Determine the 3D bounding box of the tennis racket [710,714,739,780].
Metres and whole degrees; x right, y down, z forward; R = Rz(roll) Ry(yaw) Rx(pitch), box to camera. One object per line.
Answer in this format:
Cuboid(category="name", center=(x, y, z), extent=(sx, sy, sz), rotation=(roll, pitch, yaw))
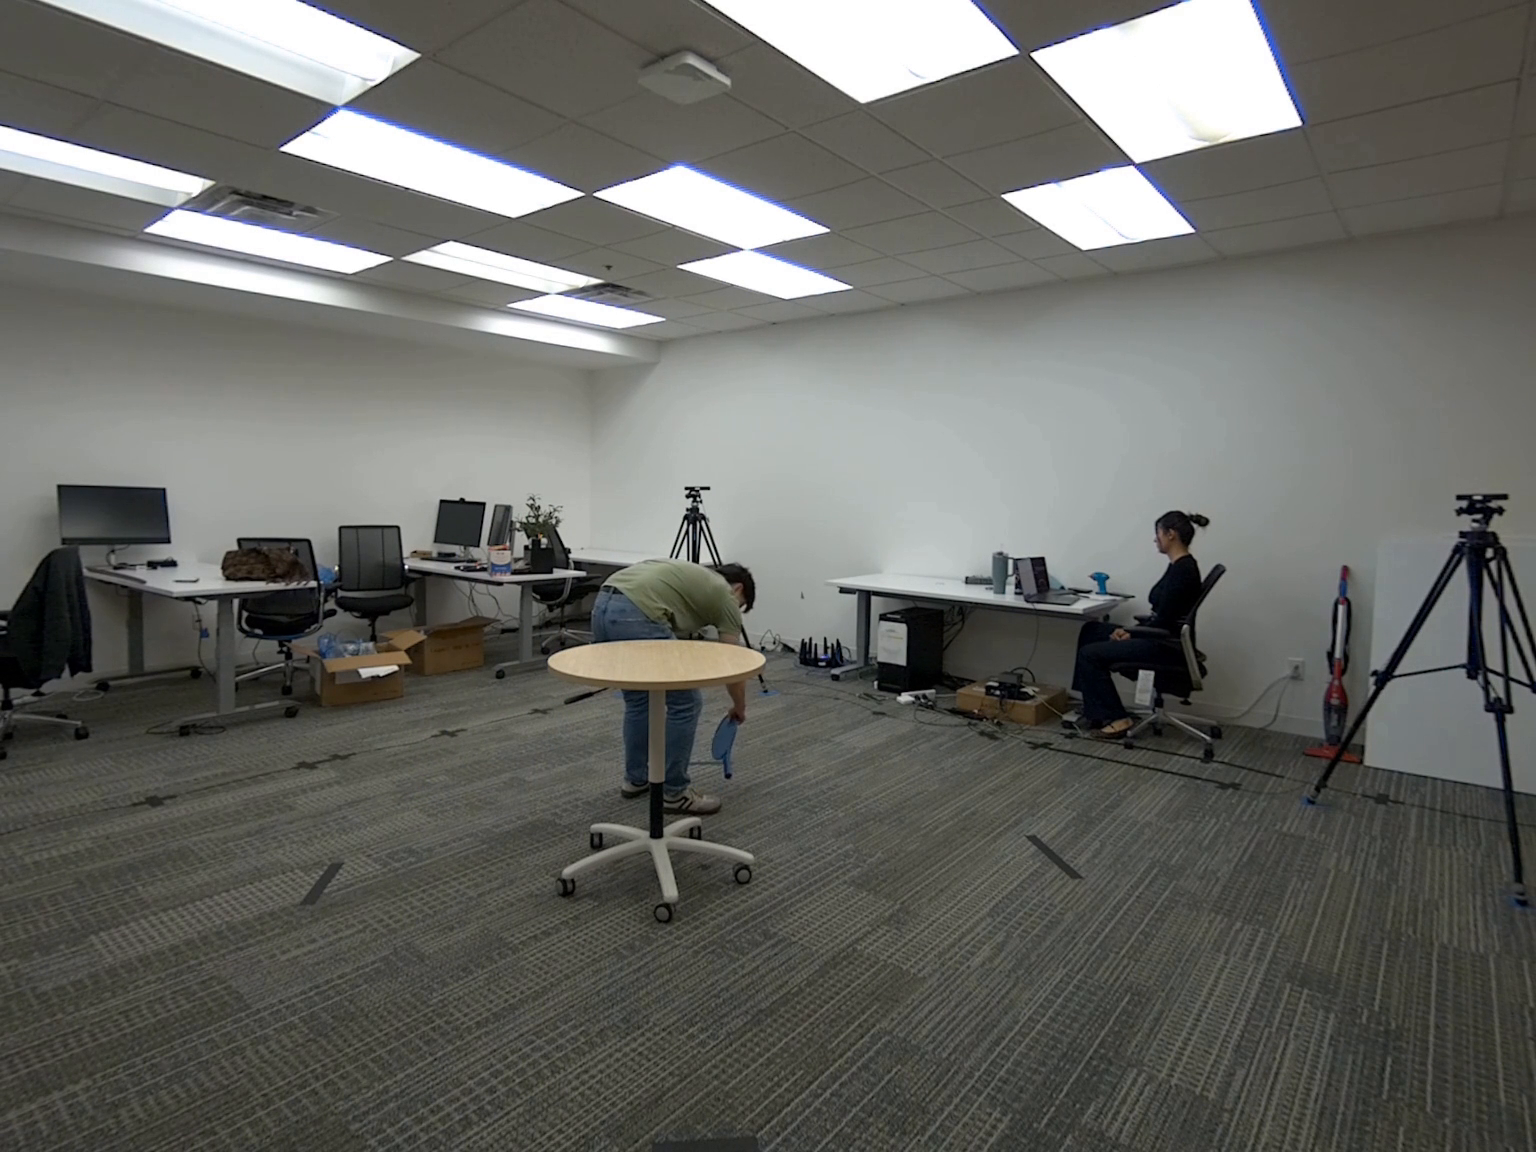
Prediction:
Cuboid(category="tennis racket", center=(-0.208, 0.785, 3.918), extent=(0.031, 0.213, 0.442), rotation=(31, 19, -16))
